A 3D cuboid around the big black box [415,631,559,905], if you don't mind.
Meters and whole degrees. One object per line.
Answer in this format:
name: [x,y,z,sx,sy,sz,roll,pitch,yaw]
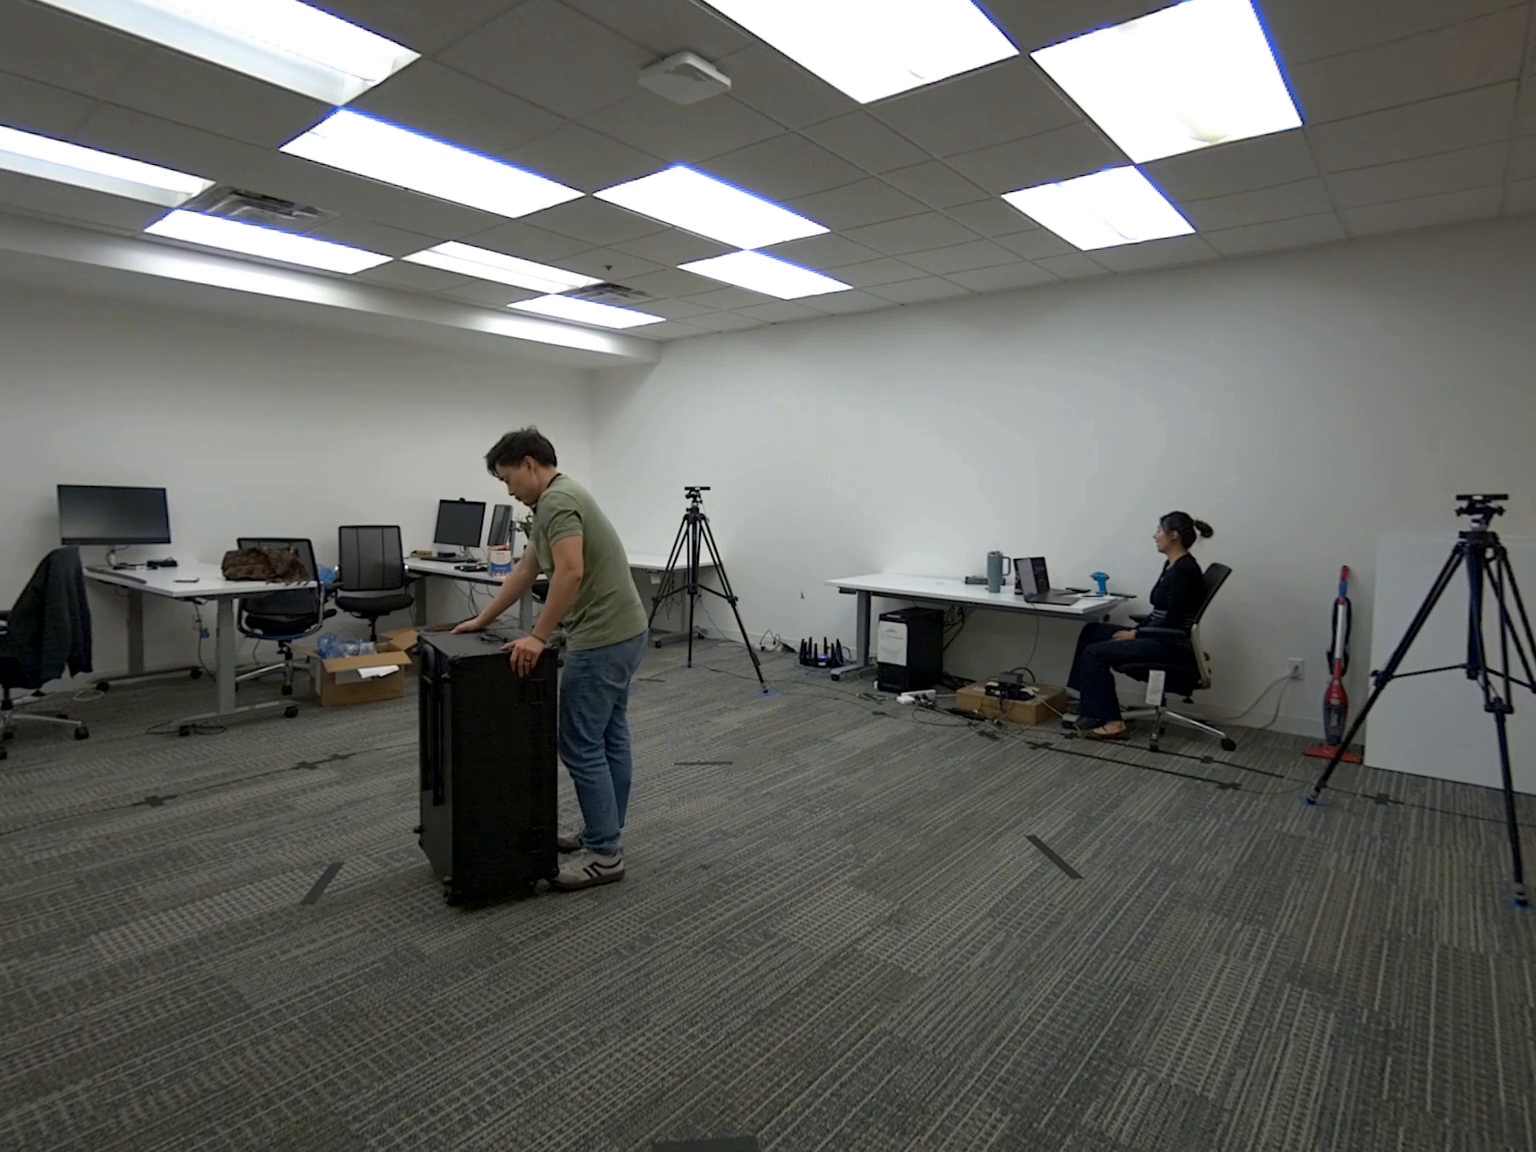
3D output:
big black box: [-1.010,0.652,2.954,0.386,0.858,0.538,-3,5,-32]
